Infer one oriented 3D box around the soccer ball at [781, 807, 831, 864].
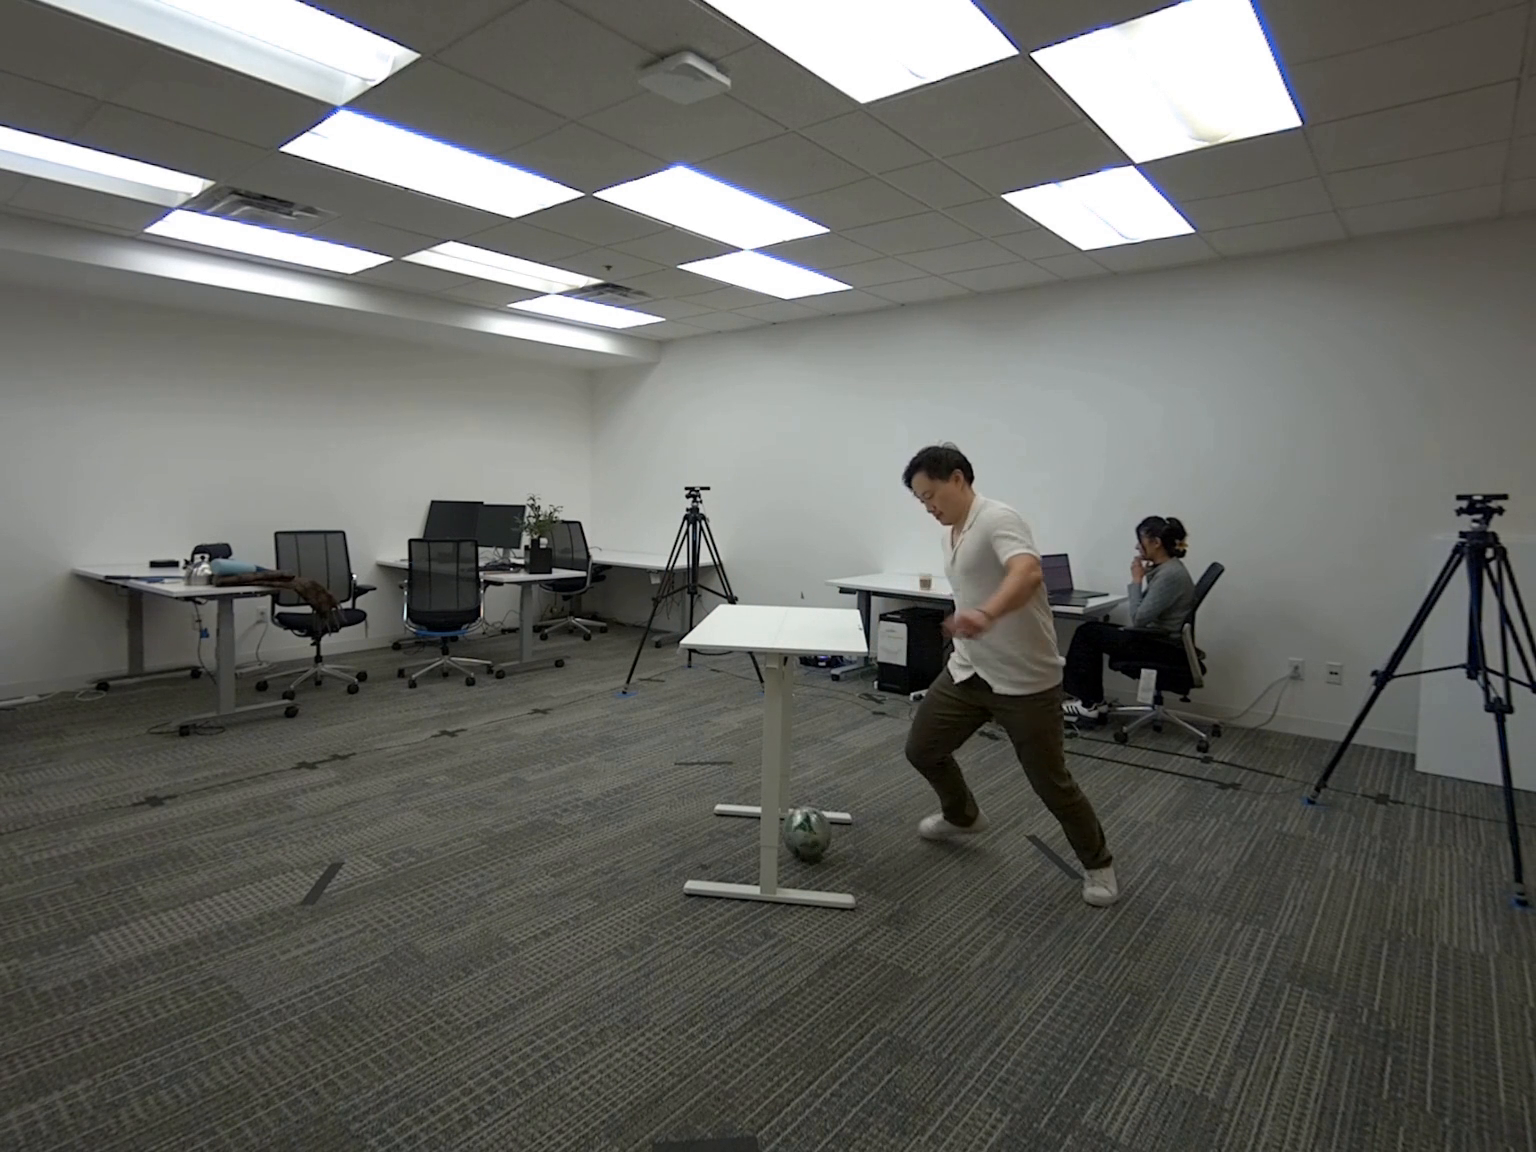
[{"bbox_3d":[0.141,0.966,3.210,0.187,0.187,0.188,1,4,-2],"label":"soccer ball"}]
